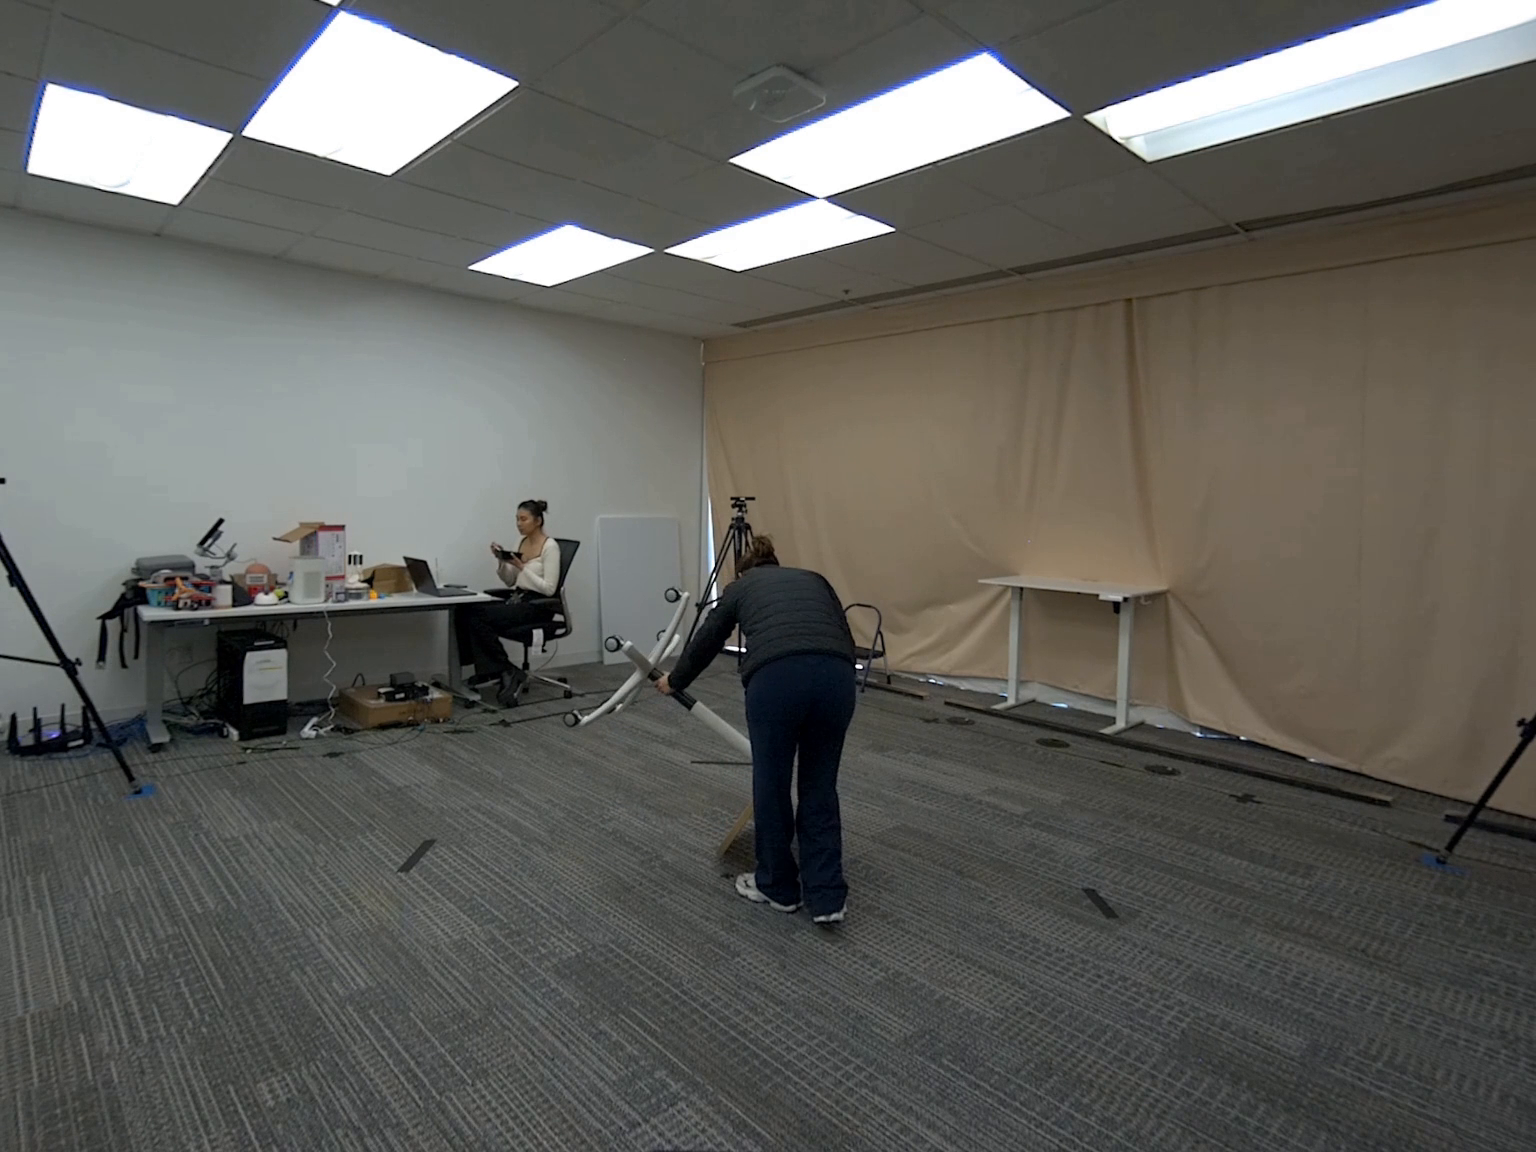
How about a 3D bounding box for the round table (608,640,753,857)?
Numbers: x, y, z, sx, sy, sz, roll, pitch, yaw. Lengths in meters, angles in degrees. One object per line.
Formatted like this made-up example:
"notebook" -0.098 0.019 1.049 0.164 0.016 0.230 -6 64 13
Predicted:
"round table" -0.256 0.541 3.351 0.796 0.783 0.778 36 11 10
